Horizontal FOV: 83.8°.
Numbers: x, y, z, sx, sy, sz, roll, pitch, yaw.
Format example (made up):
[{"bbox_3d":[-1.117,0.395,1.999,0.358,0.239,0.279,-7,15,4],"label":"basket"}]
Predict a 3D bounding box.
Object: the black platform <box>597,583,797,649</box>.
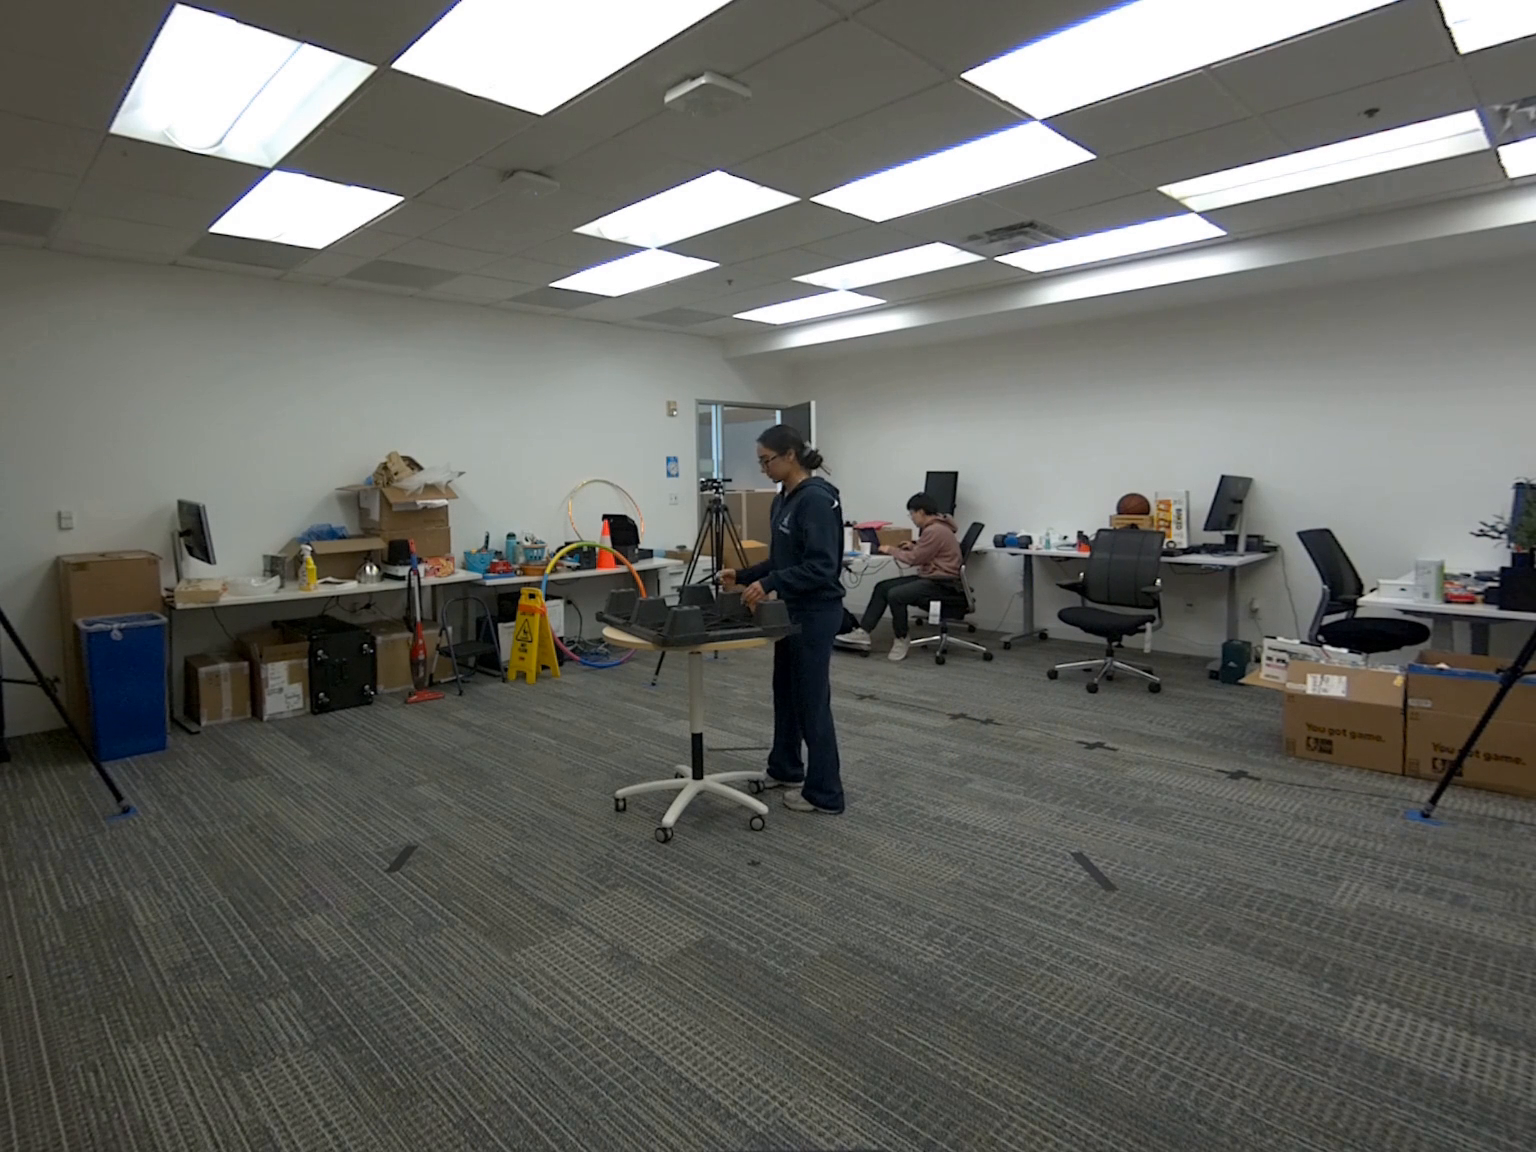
[{"bbox_3d":[-0.325,0.145,3.591,0.591,0.143,0.827,-3,7,-28],"label":"black platform"}]
